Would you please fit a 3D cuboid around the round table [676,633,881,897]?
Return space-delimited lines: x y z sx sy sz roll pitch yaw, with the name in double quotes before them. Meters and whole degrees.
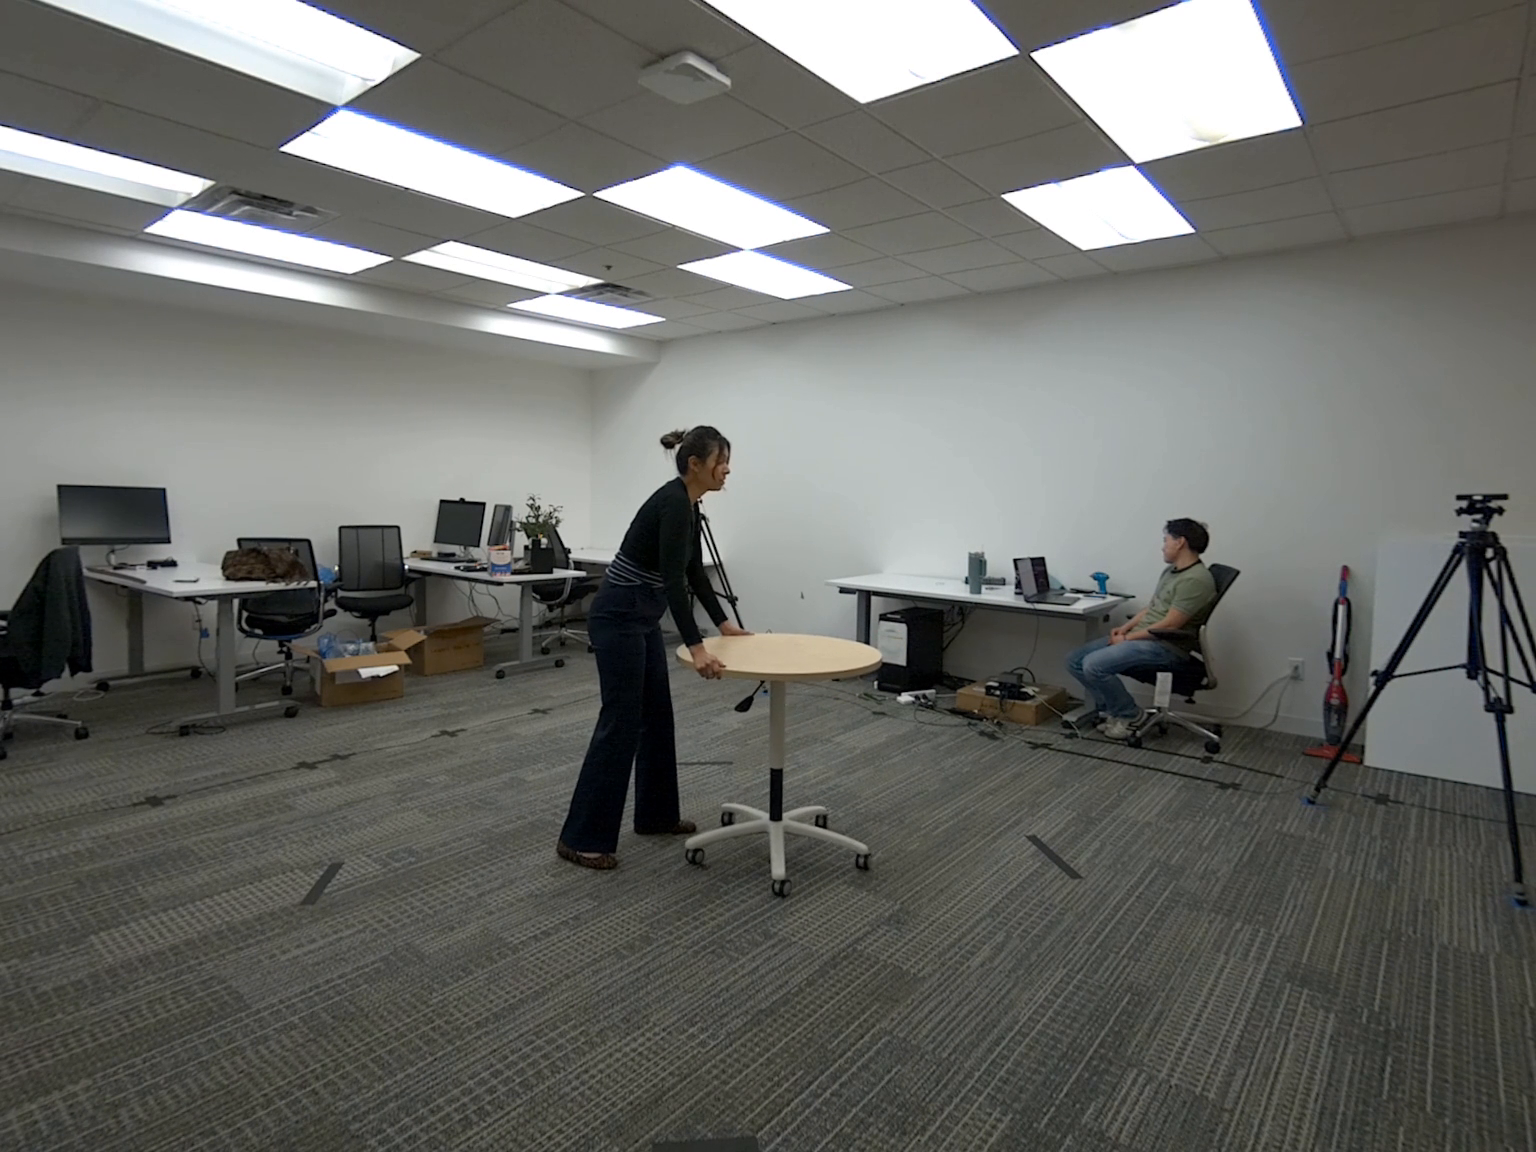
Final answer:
"round table" 0.026 0.670 3.209 0.763 0.791 0.768 1 4 -2
